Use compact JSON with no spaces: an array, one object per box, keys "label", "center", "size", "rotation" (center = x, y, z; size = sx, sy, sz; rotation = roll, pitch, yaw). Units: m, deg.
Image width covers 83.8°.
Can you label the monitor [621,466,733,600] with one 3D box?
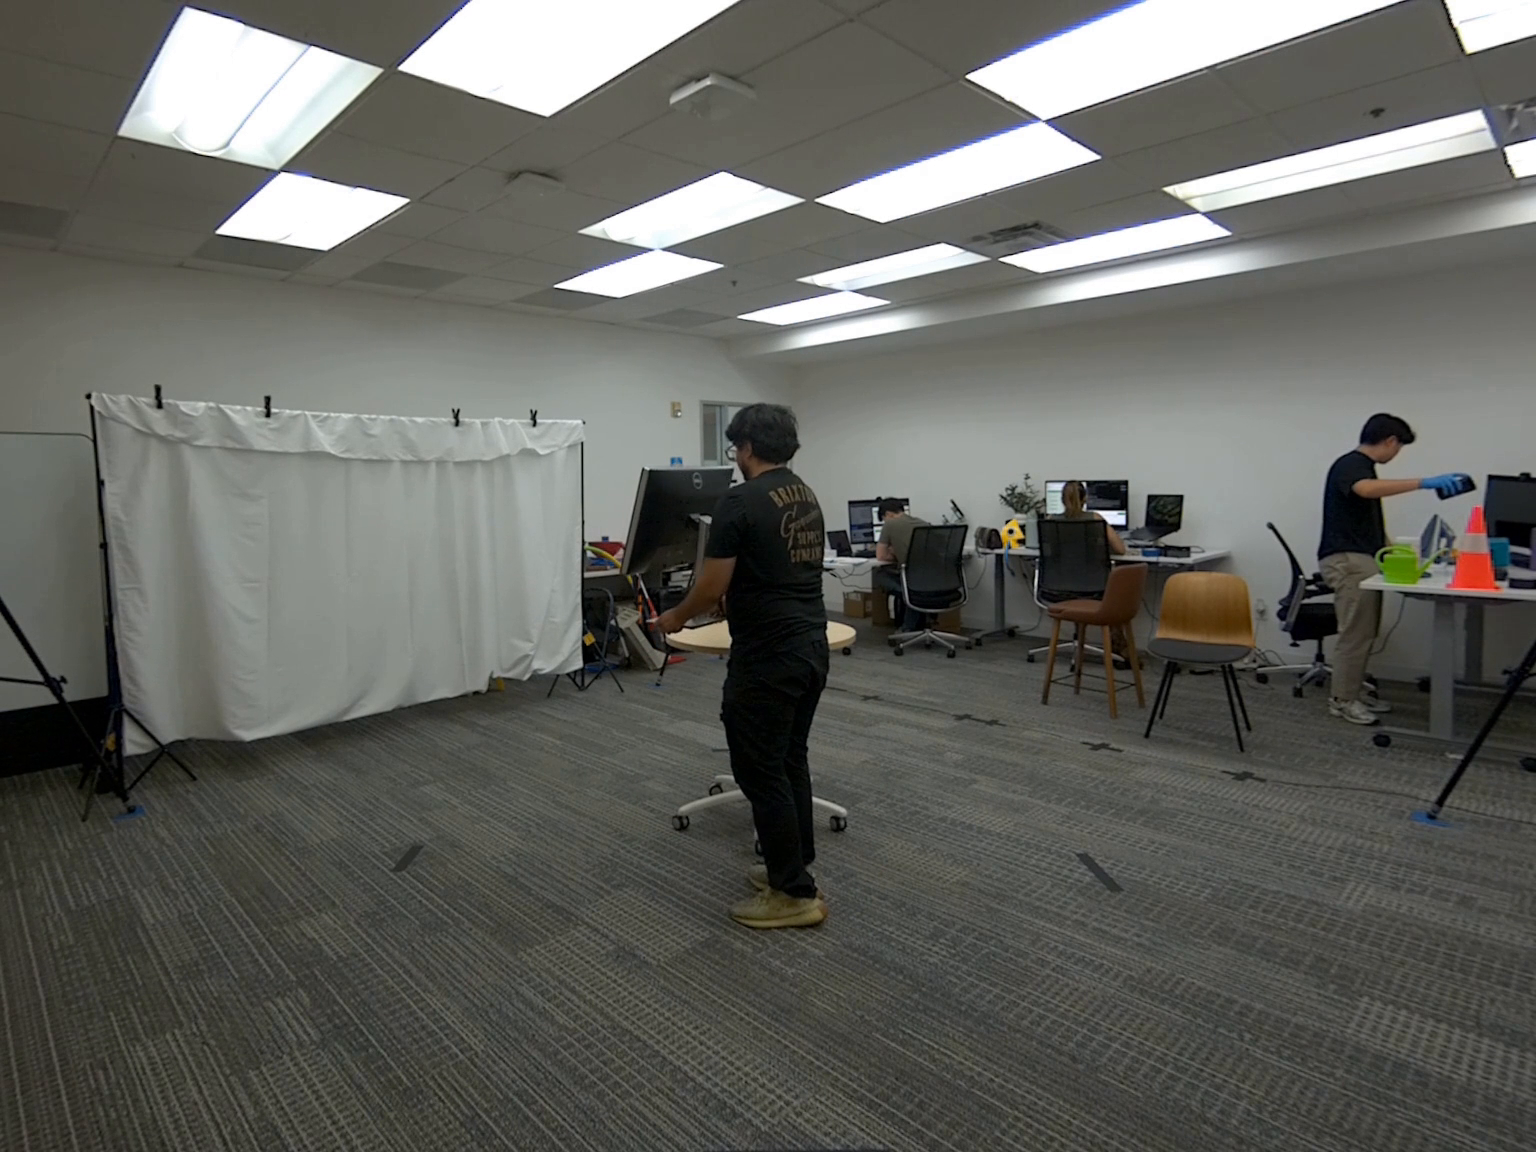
[{"label":"monitor","center":[-0.247,-0.104,2.968],"size":[0.216,0.550,0.554],"rotation":[12,11,26]}]
